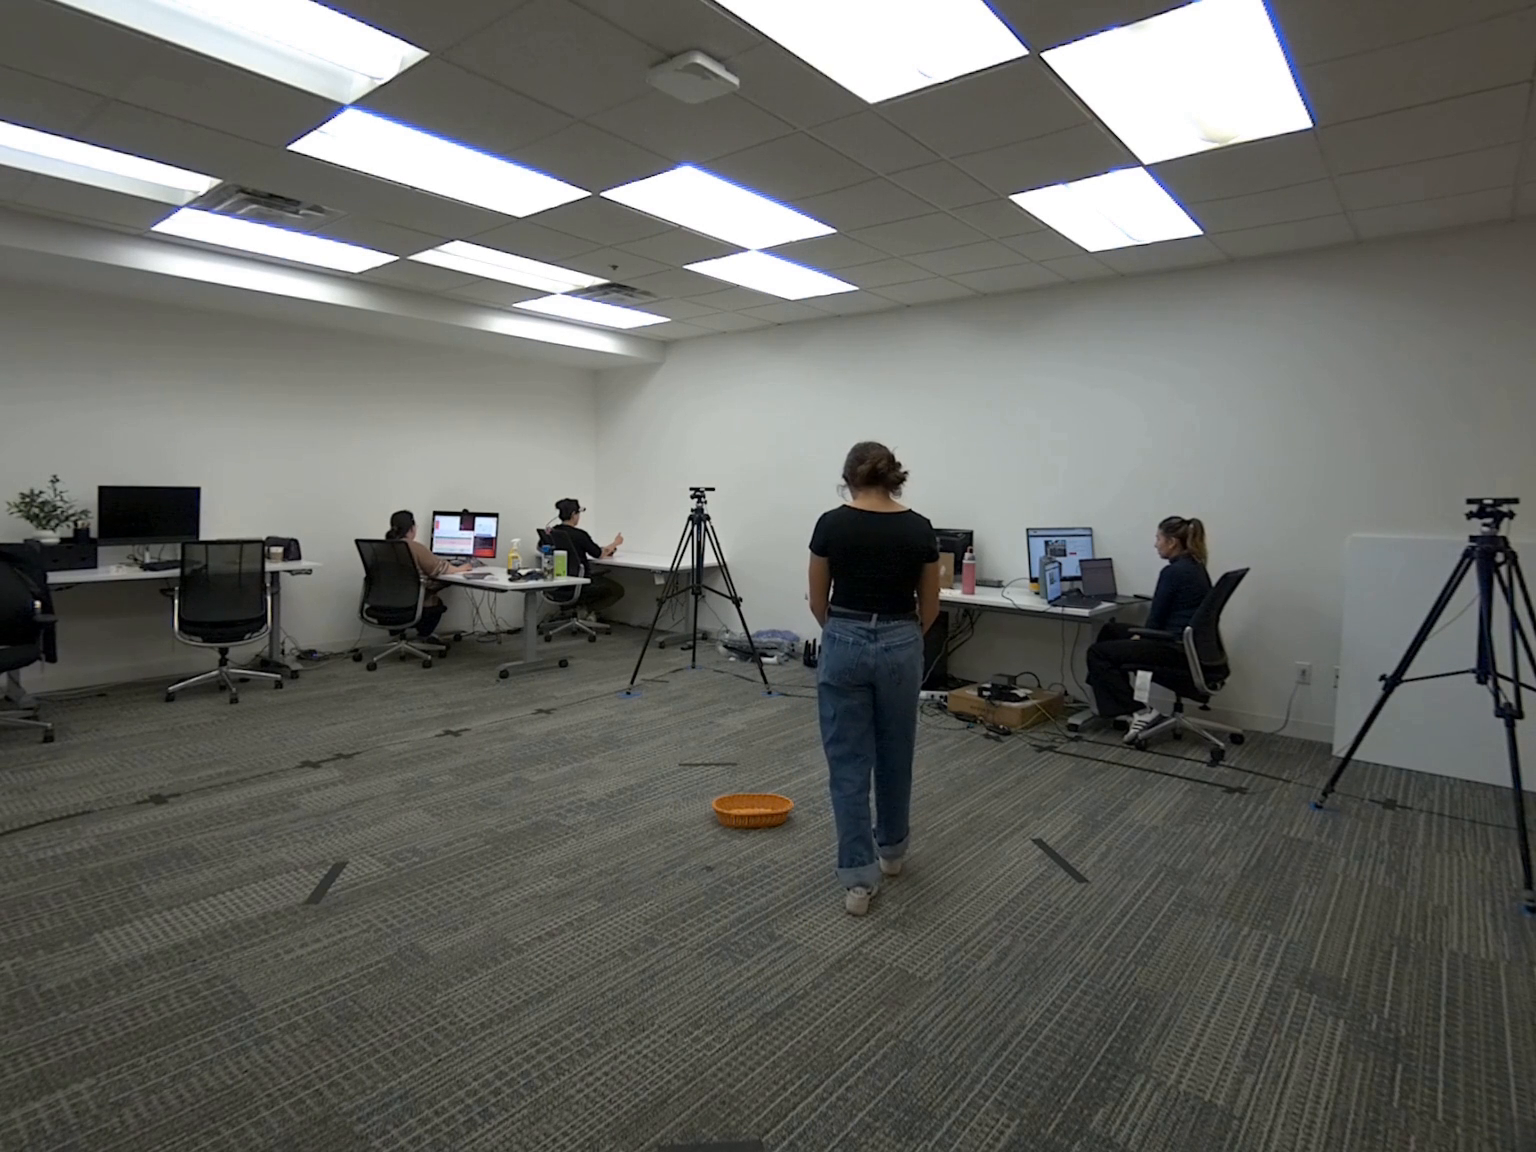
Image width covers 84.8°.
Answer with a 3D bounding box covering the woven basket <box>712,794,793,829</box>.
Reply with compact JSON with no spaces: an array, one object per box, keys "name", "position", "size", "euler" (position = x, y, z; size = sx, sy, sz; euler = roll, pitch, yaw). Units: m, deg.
[{"name":"woven basket","position":[-0.076,0.985,3.582],"size":[0.347,0.073,0.256],"euler":[0,5,-9]}]
